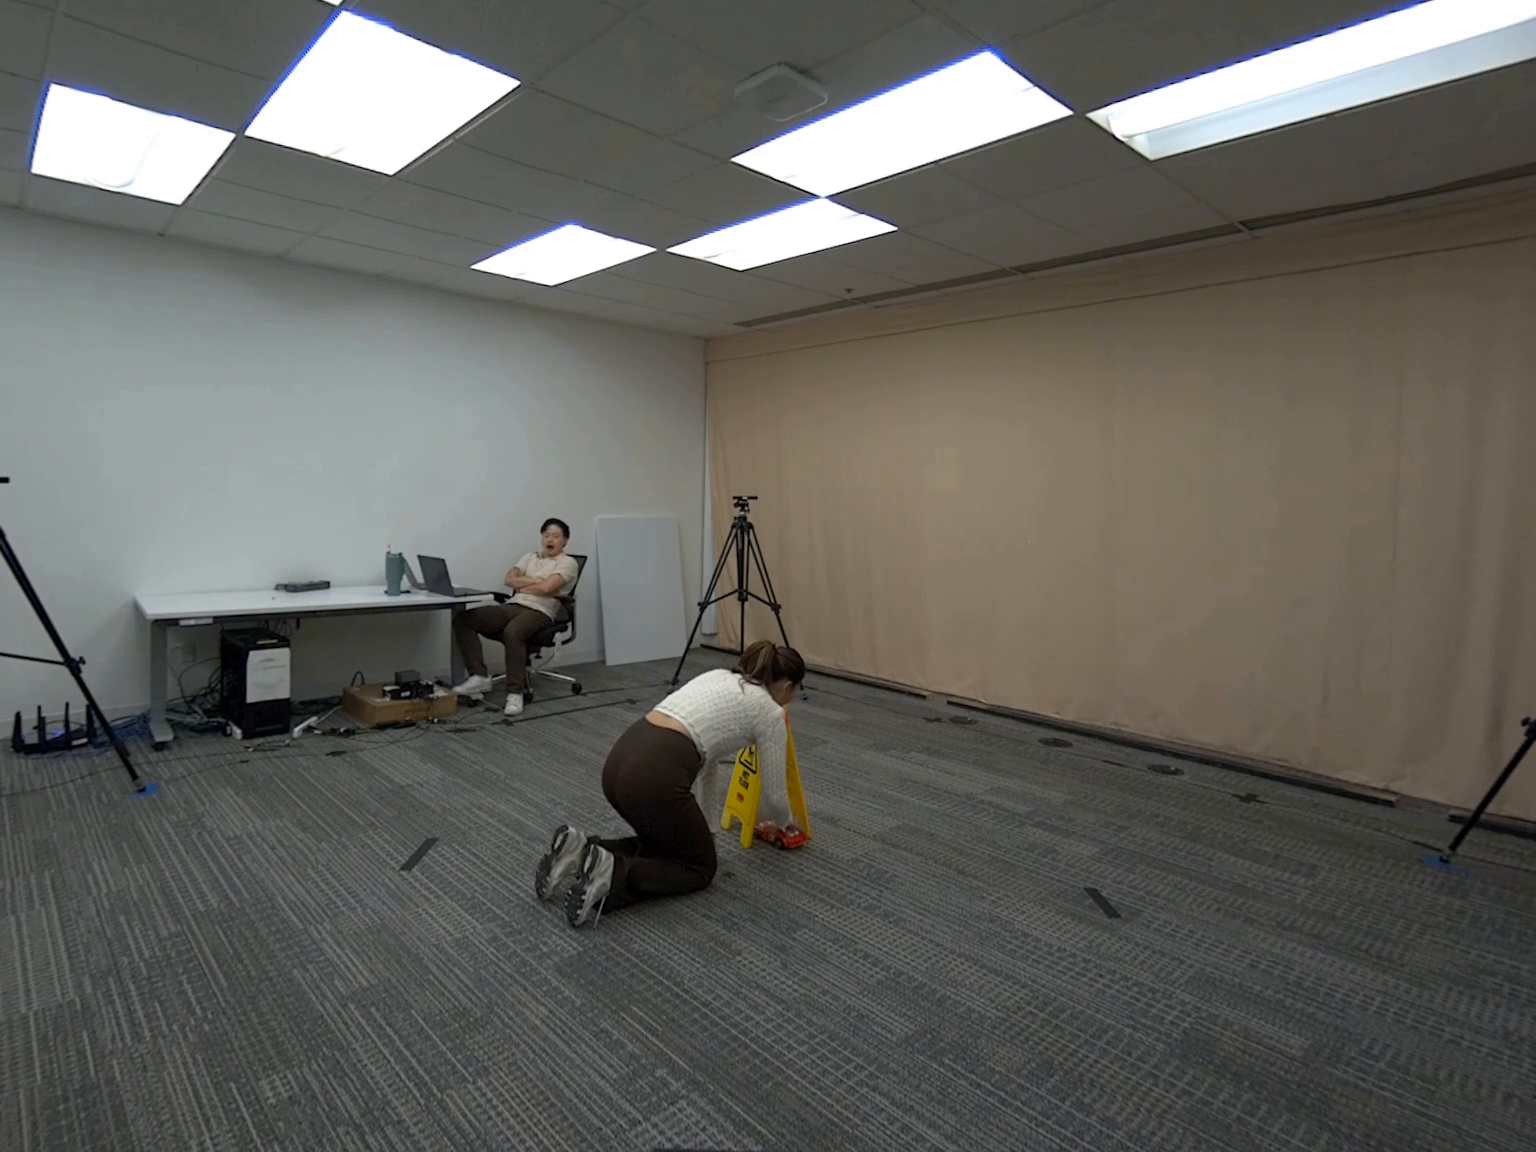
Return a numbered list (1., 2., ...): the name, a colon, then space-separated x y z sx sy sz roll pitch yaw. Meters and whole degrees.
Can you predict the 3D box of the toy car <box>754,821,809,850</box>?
1. toy car: 0.040 1.049 3.410 0.127 0.083 0.260 1 -3 -44
